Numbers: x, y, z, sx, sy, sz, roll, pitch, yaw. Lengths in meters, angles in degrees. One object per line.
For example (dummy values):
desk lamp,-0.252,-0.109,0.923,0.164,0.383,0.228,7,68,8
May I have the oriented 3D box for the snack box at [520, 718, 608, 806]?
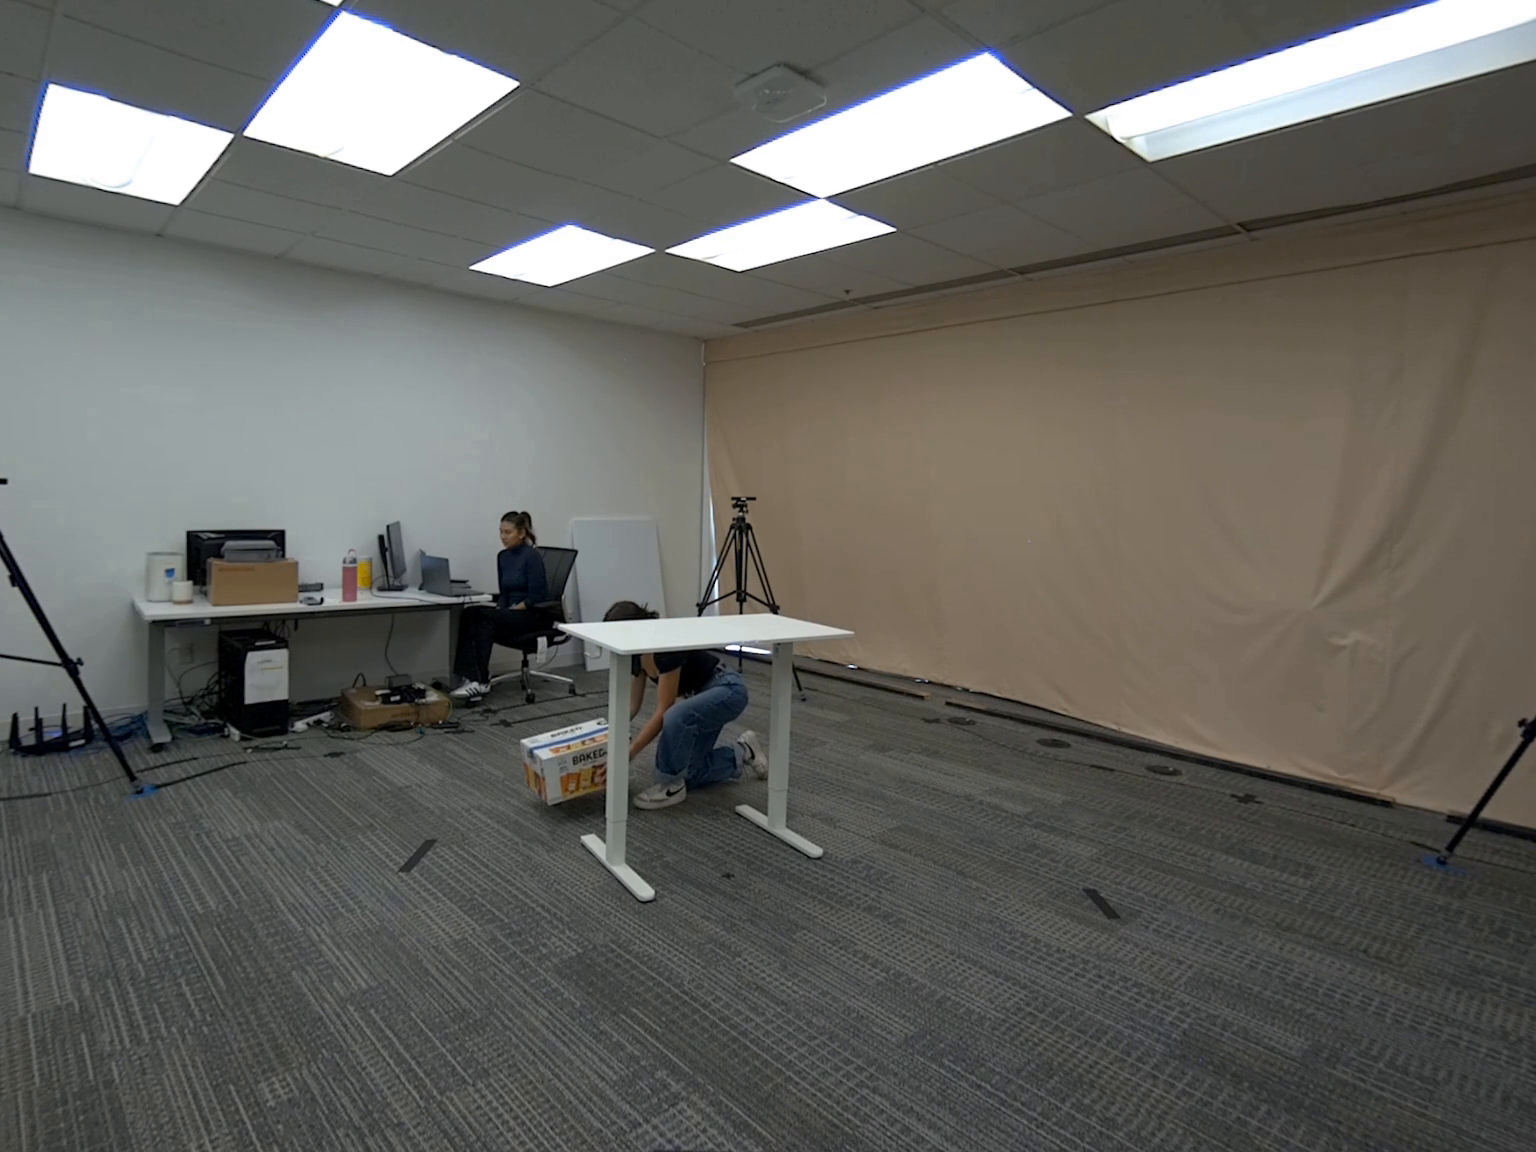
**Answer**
snack box,-0.861,0.813,3.749,0.398,0.204,0.348,-11,9,-31
